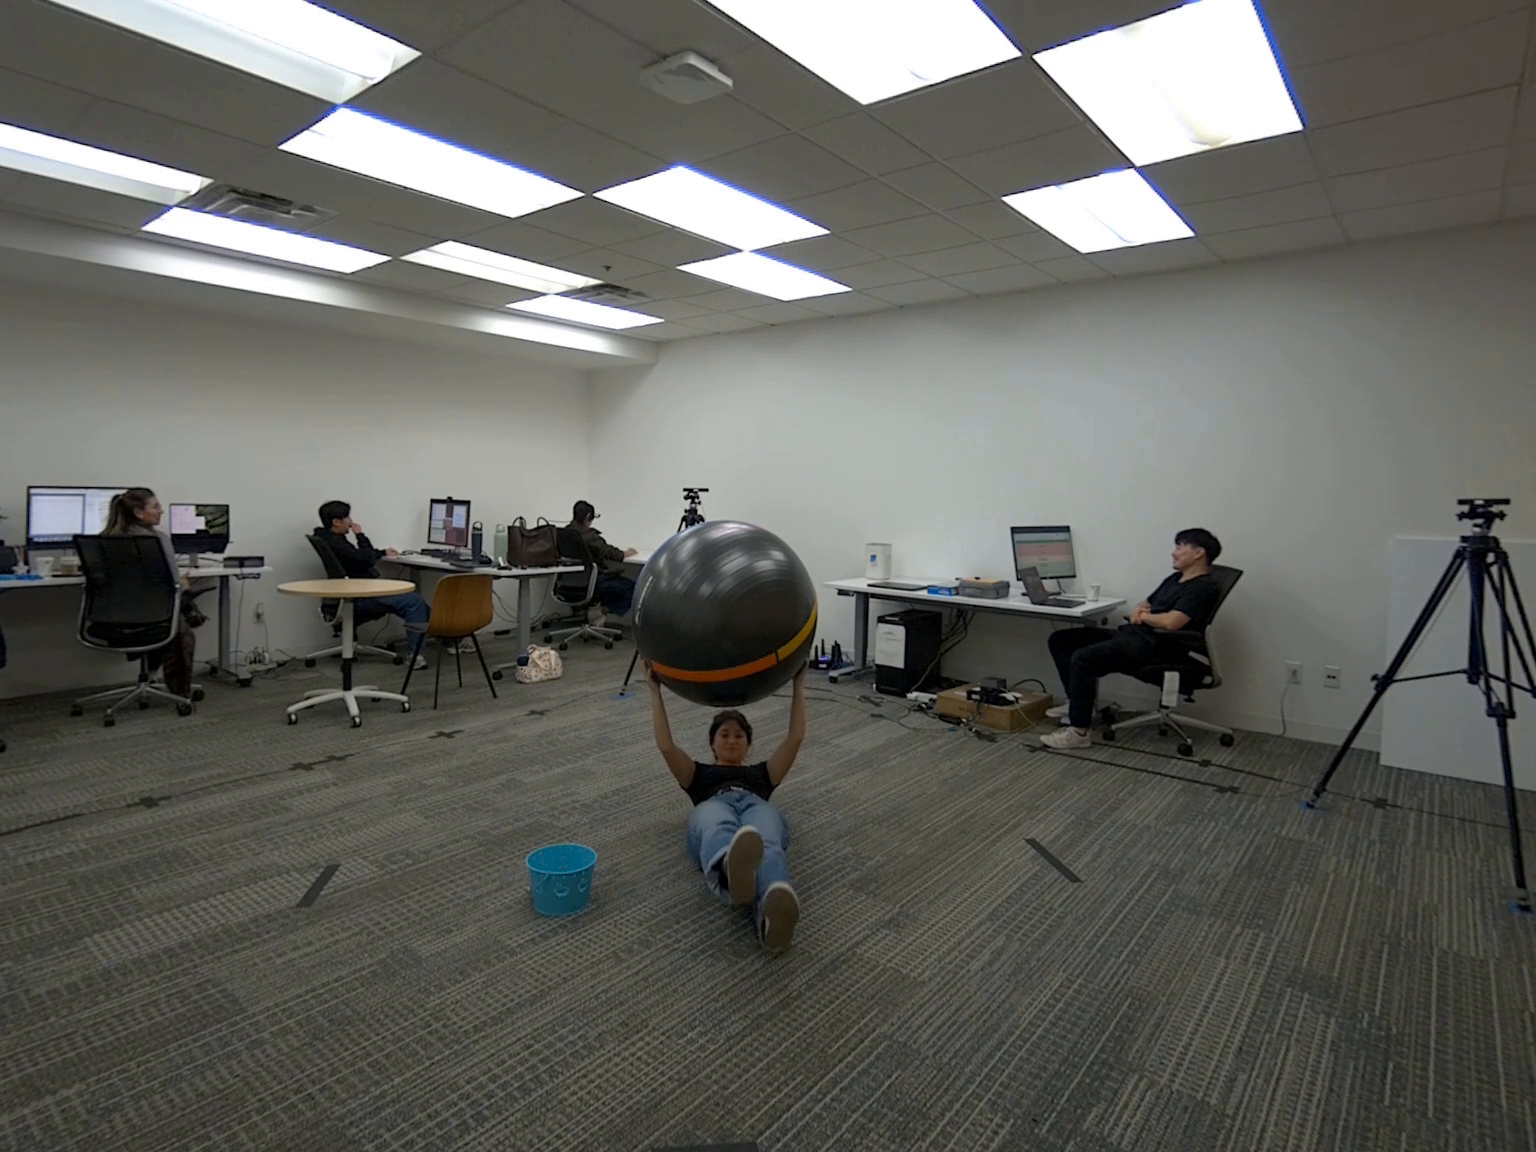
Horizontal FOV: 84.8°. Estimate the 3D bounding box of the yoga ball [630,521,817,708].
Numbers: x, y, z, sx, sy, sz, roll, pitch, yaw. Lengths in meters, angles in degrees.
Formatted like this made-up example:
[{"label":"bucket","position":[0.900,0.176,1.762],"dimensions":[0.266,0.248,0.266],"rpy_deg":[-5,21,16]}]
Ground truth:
[{"label":"yoga ball","position":[-0.189,0.152,3.472],"dimensions":[0.757,0.755,0.762],"rpy_deg":[1,4,-2]}]
